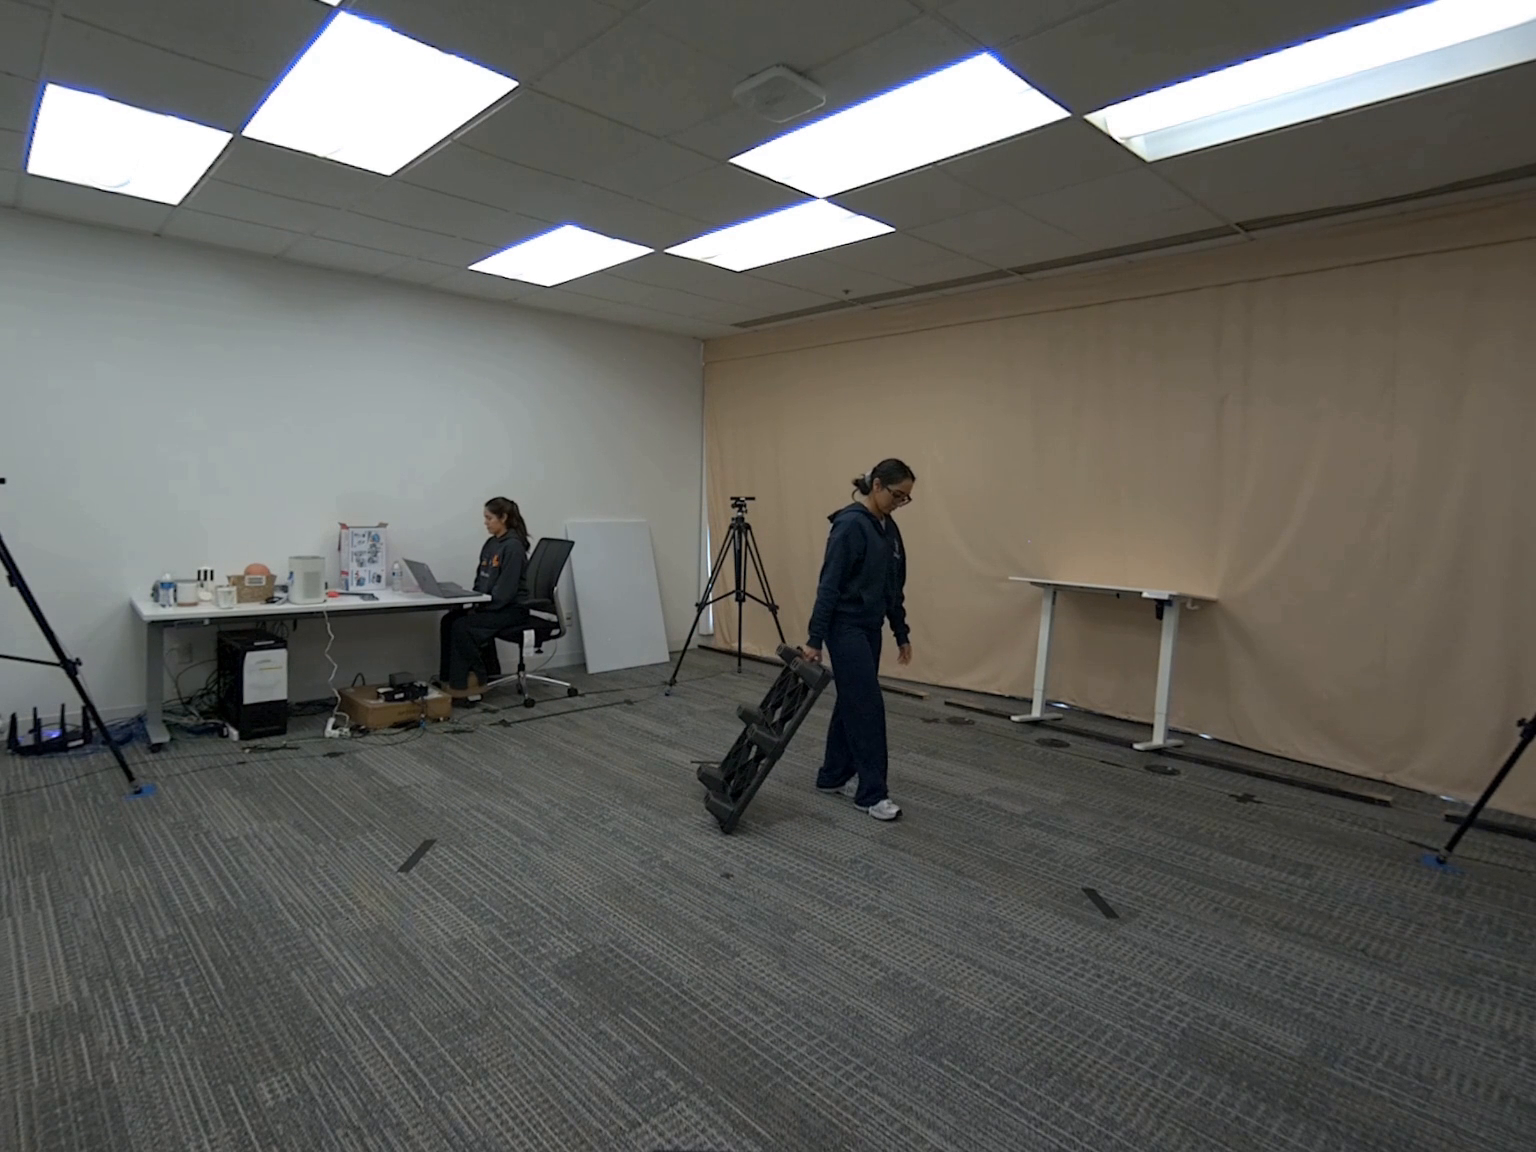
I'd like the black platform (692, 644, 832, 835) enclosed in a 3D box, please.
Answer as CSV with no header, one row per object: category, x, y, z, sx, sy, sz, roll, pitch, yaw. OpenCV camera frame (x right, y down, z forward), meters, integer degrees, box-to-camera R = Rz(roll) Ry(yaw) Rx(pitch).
black platform,-0.055,0.681,3.758,0.142,0.805,0.611,33,-1,-10
